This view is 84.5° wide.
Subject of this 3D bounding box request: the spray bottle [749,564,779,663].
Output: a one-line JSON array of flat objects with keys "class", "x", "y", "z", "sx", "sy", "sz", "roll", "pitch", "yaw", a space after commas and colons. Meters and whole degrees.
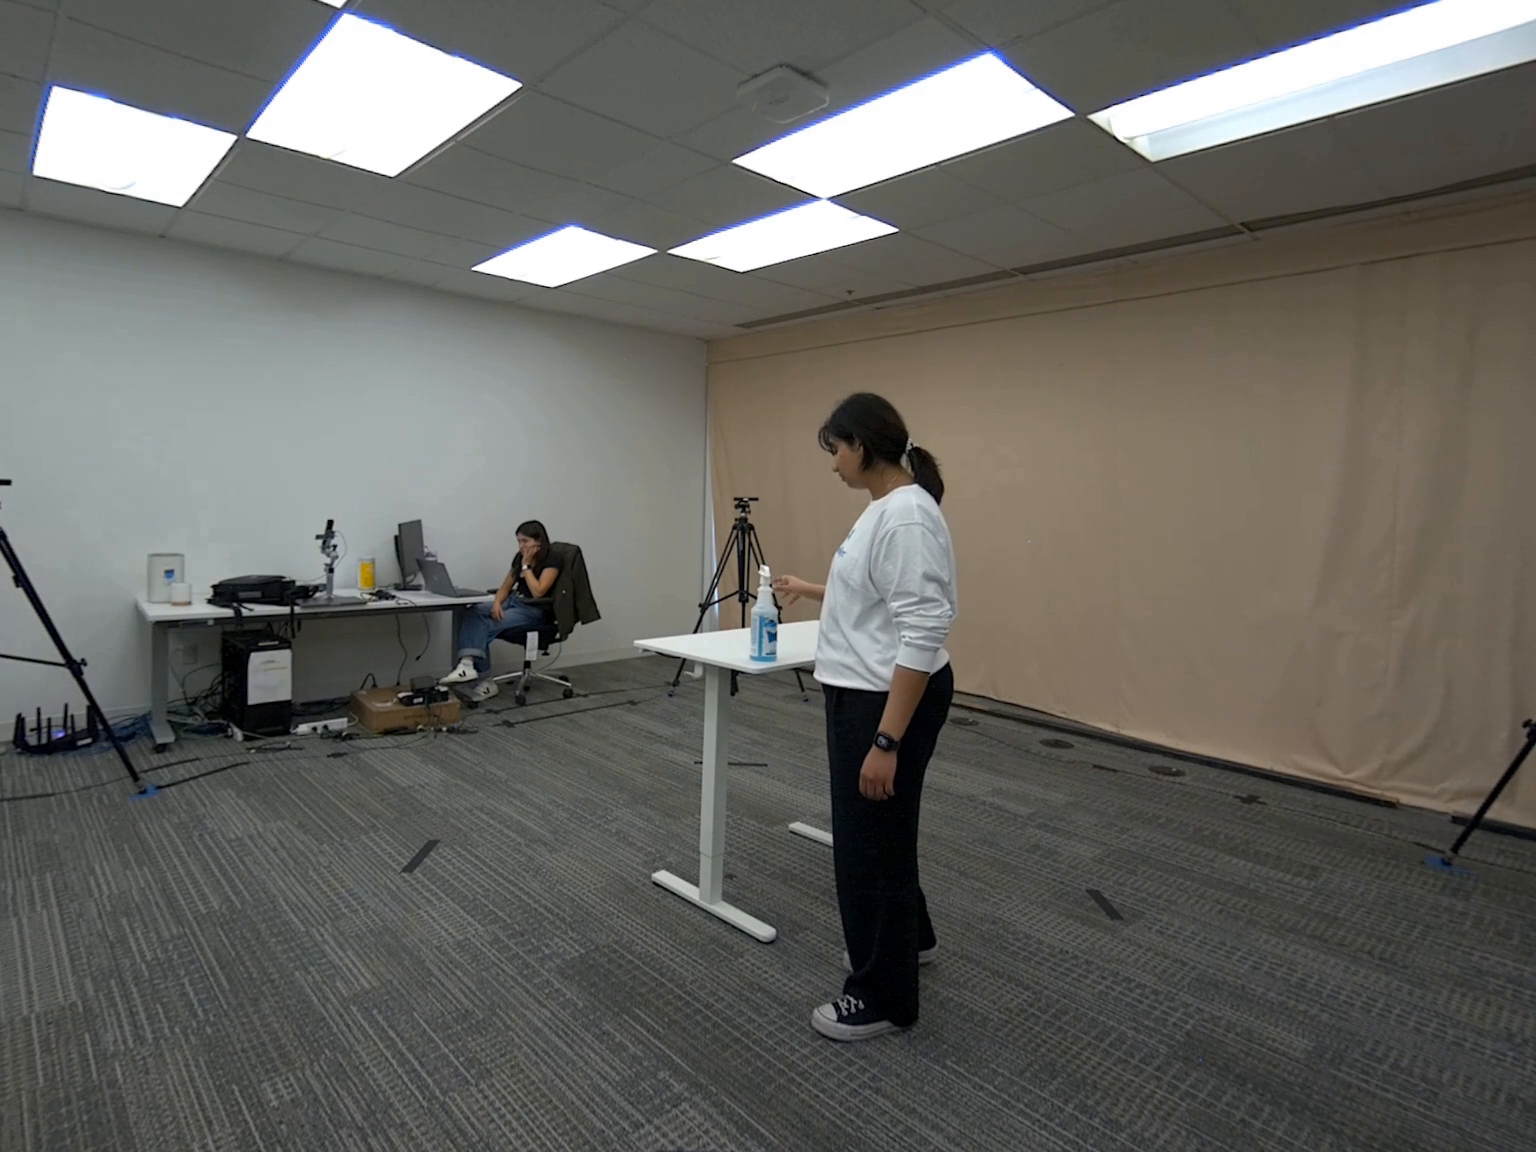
[{"class": "spray bottle", "x": -0.012, "y": 0.120, "z": 2.663, "sx": 0.088, "sy": 0.297, "sz": 0.089, "roll": 1, "pitch": 2, "yaw": 15}]
